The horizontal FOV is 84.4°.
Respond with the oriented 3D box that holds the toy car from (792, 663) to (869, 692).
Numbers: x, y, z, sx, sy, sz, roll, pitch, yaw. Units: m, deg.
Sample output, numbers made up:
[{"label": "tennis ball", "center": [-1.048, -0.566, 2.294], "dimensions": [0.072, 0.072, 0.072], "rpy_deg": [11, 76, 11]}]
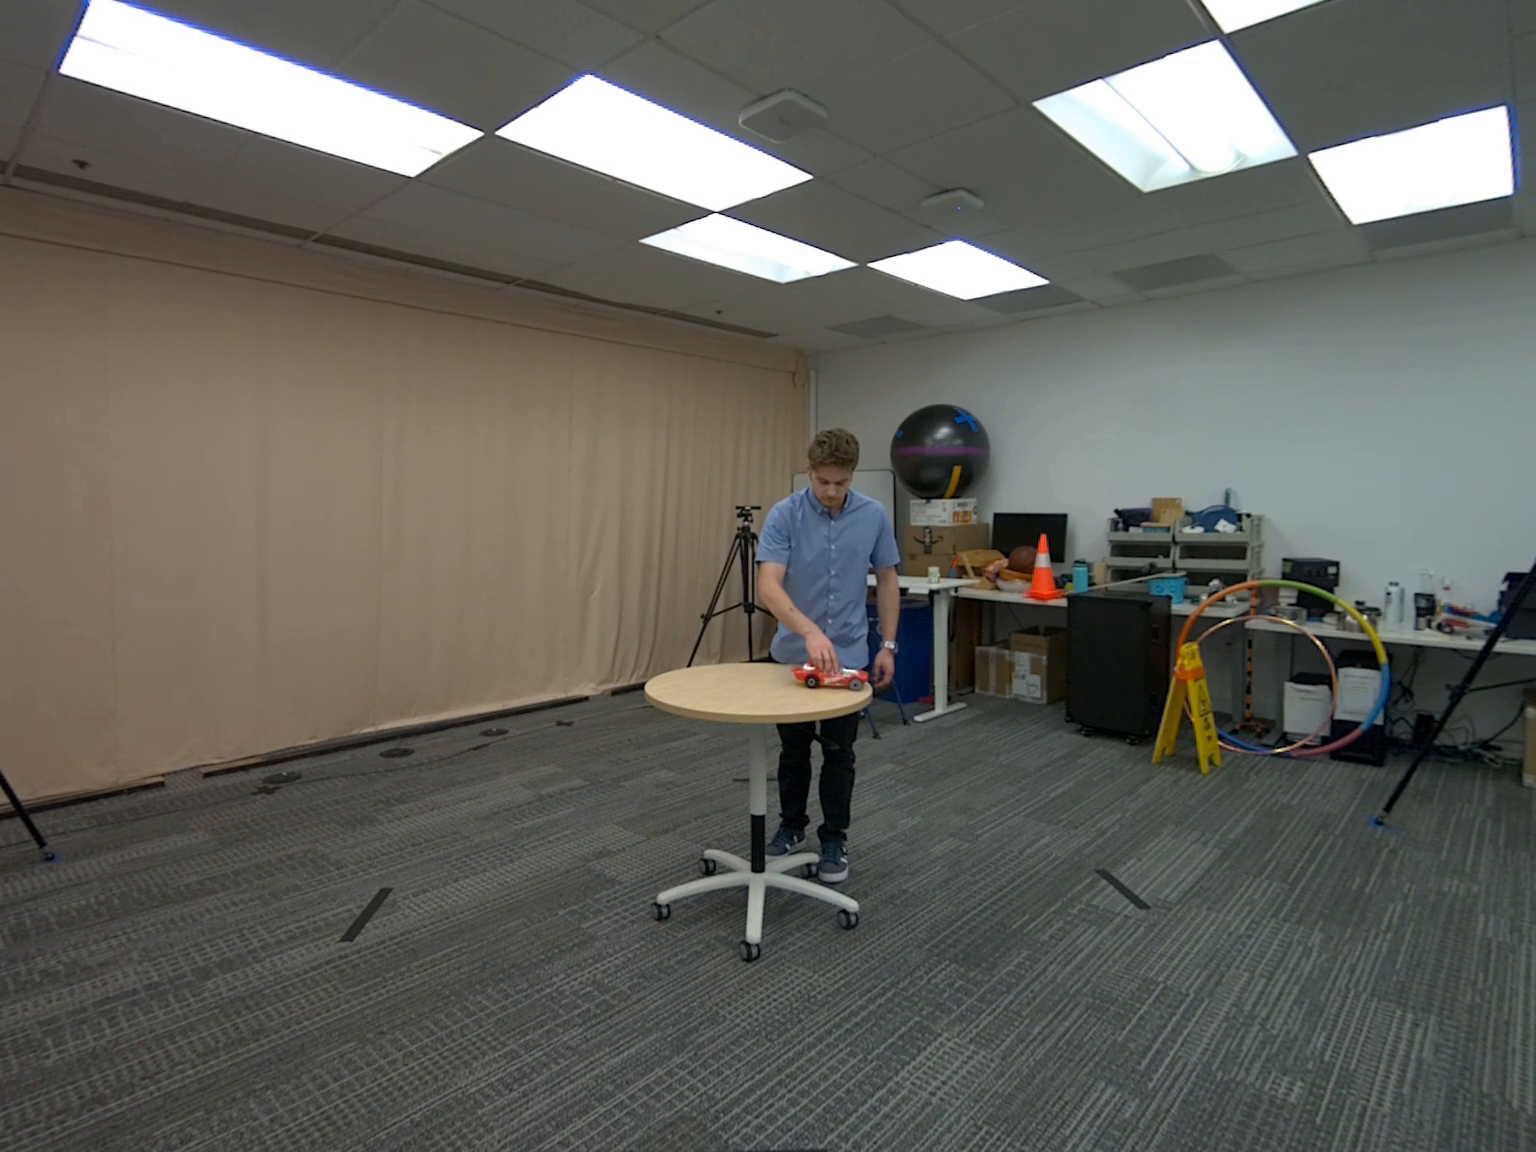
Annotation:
[{"label": "toy car", "center": [0.204, 0.341, 2.842], "dimensions": [0.258, 0.083, 0.129], "rpy_deg": [12, 8, 10]}]
